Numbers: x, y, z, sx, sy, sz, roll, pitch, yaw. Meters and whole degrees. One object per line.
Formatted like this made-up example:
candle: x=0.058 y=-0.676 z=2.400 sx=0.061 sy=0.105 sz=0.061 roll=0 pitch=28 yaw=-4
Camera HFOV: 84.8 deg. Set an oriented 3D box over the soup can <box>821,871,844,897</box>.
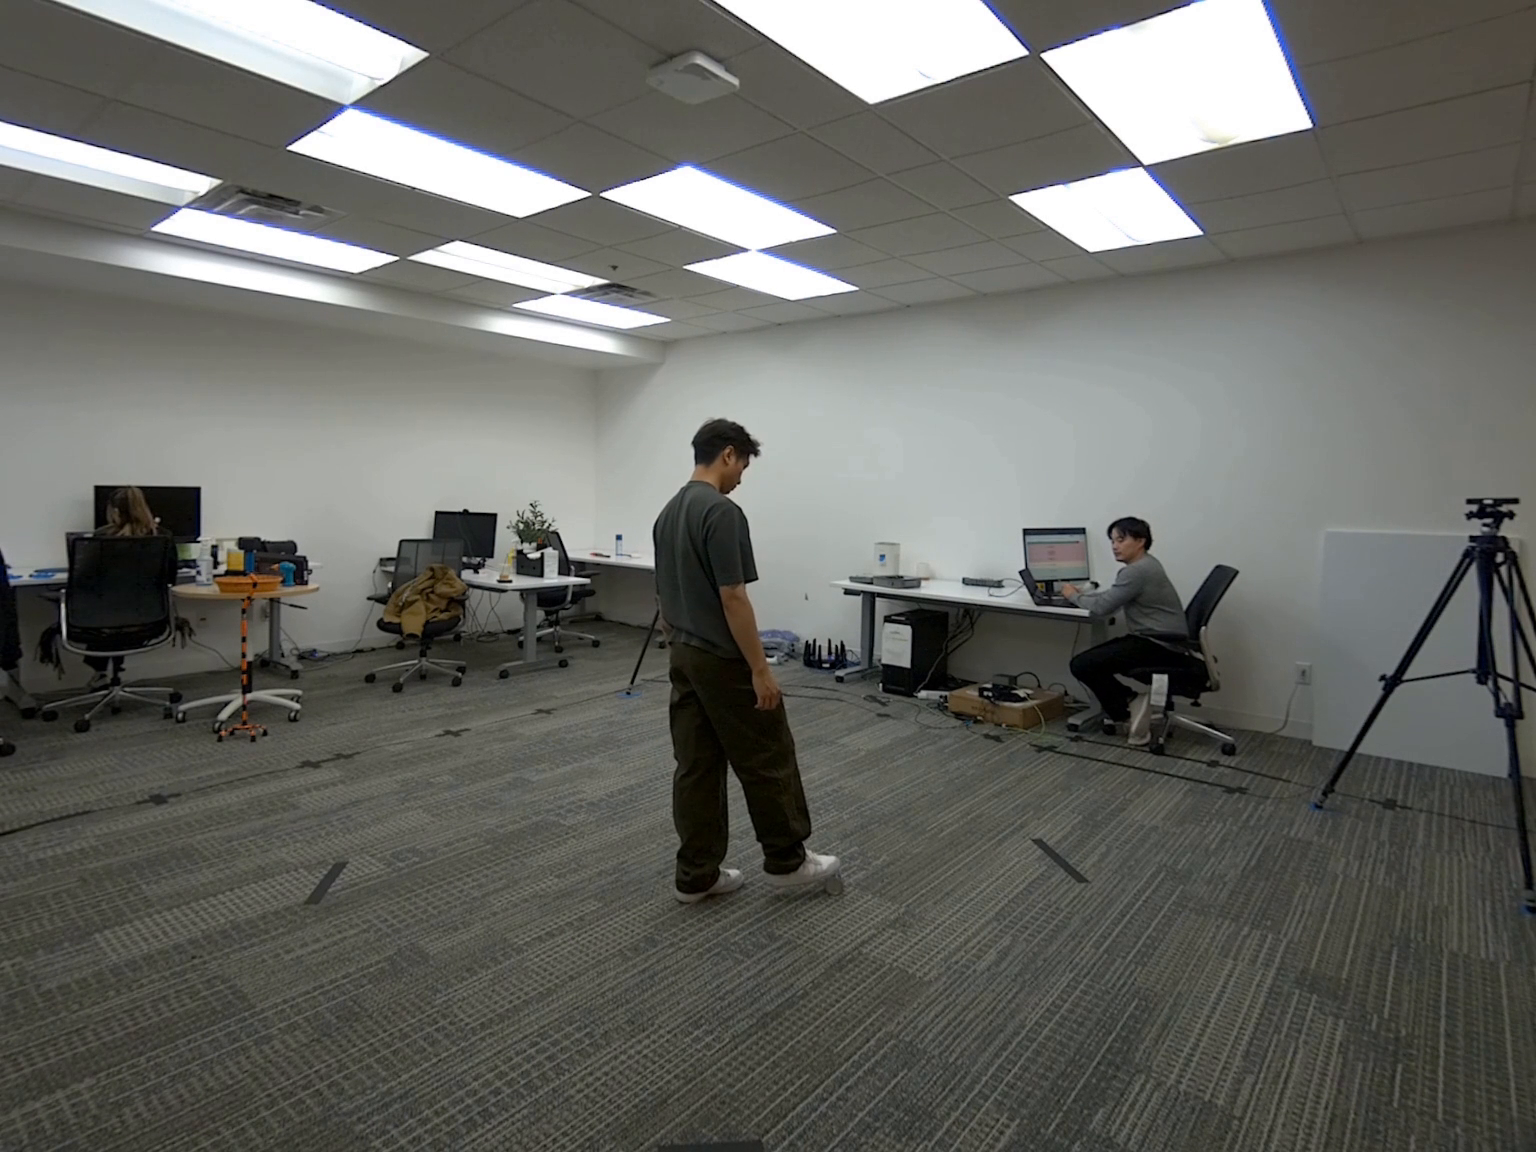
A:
soup can: x=0.221 y=1.055 z=2.979 sx=0.067 sy=0.066 sz=0.123 roll=1 pitch=11 yaw=-2
